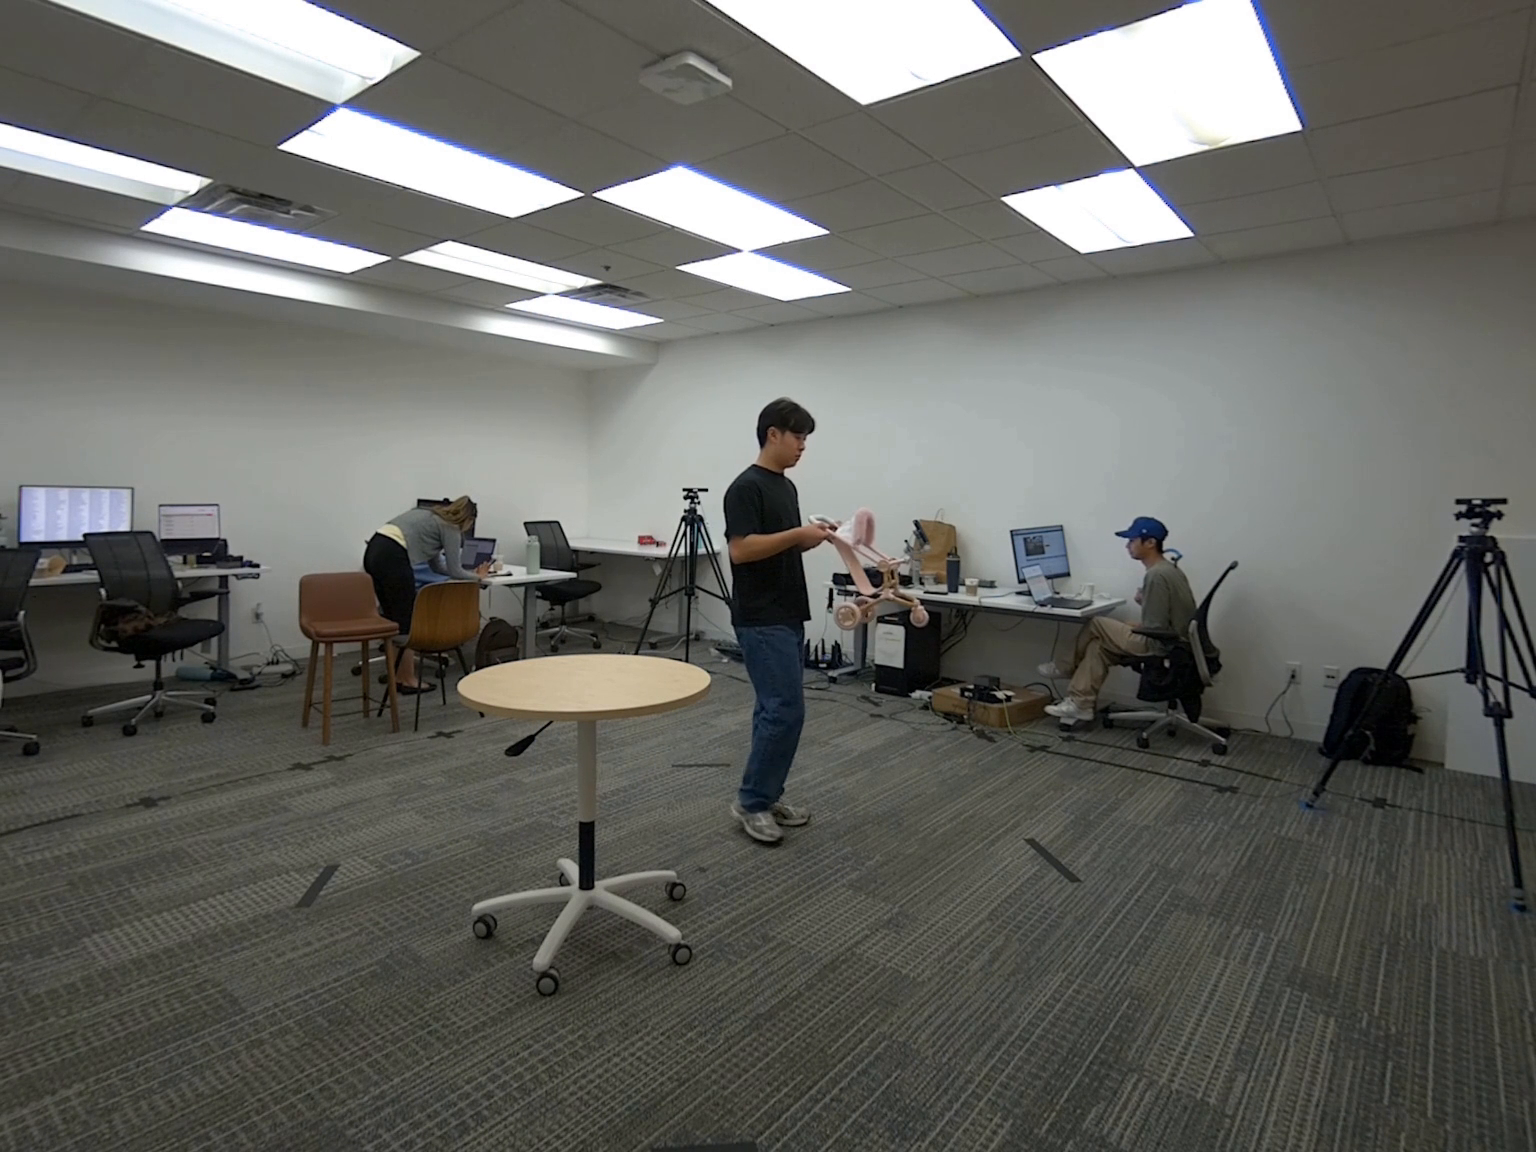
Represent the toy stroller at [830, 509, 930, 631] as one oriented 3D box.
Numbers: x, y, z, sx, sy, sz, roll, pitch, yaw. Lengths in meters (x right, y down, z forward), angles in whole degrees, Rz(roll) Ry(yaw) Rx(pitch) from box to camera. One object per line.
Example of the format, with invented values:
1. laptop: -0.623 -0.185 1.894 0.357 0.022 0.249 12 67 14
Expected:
1. toy stroller: 0.391 -0.029 3.339 0.347 0.538 0.275 -17 -5 26
